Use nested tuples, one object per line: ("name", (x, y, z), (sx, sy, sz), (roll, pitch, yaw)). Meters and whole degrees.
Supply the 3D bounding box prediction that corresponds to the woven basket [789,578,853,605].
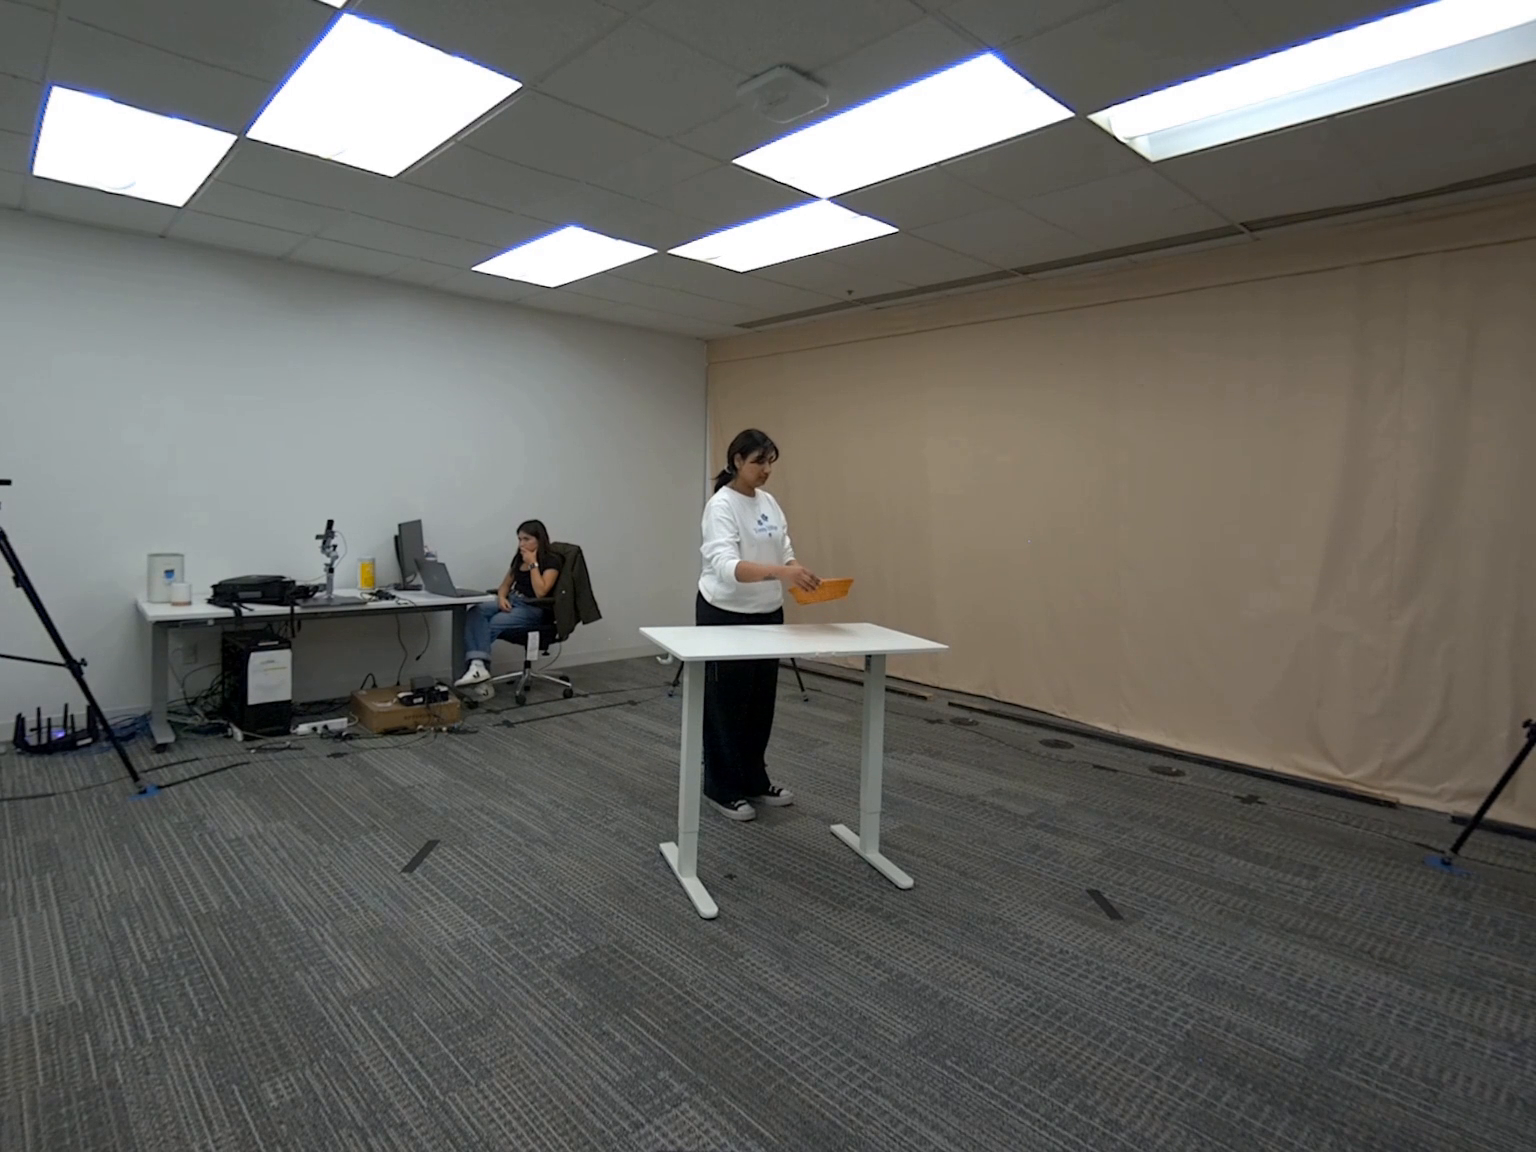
("woven basket", (0.188, 0.063, 3.375), (0.252, 0.074, 0.349), (-7, -3, -2))
